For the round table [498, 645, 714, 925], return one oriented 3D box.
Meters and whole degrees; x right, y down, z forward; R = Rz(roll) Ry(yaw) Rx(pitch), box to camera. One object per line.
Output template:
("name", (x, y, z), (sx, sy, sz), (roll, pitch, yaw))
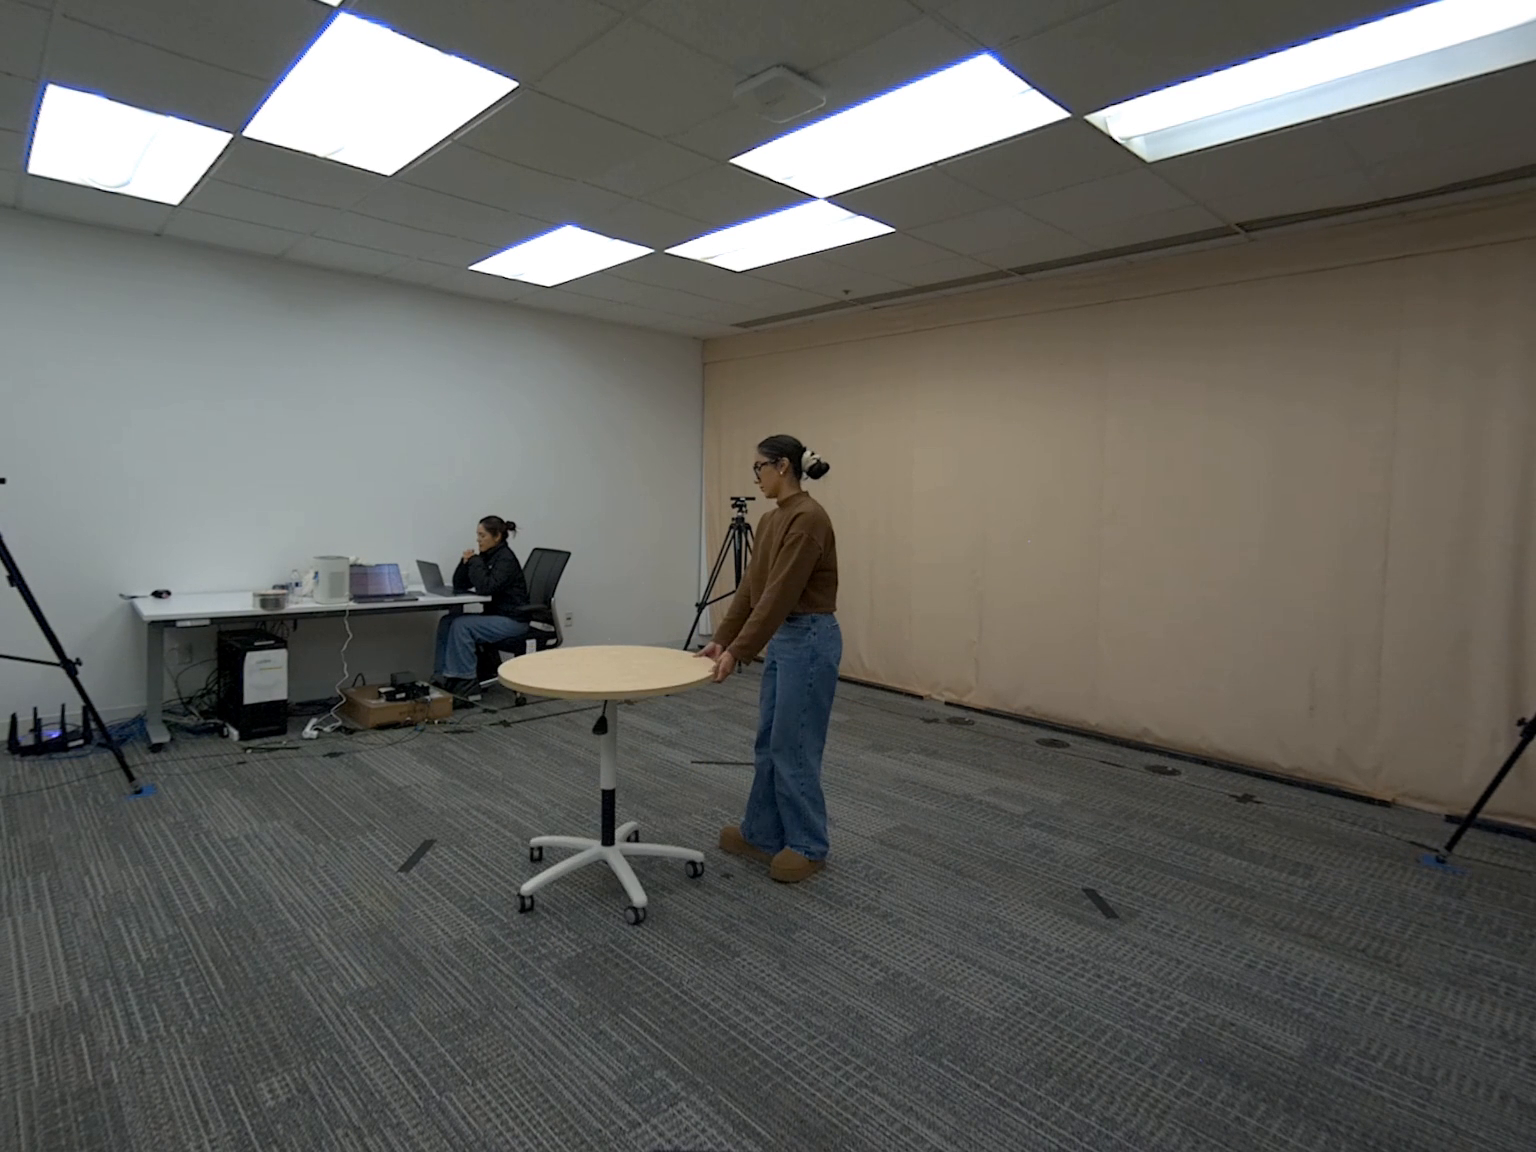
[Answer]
("round table", (-0.569, 0.709, 3.019), (0.784, 0.784, 0.788), (1, 5, -1))
